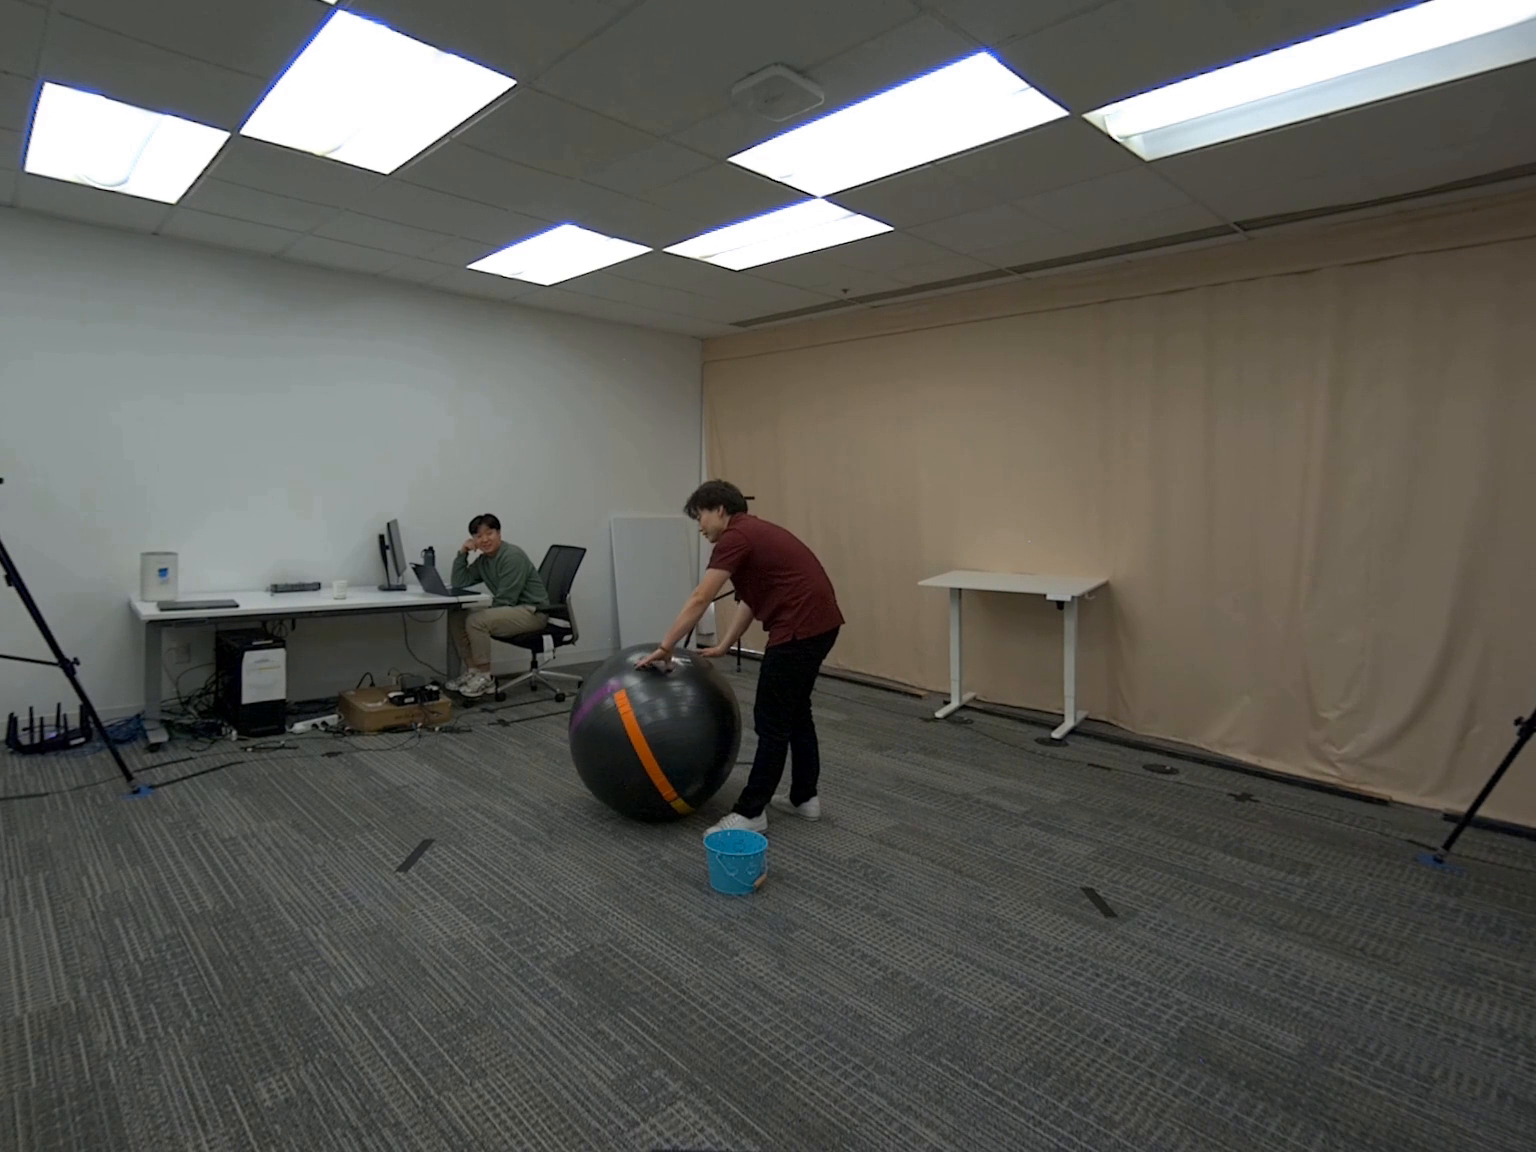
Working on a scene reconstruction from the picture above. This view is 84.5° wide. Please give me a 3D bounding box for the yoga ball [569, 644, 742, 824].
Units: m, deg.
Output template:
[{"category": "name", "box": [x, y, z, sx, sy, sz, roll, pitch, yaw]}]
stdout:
[{"category": "yoga ball", "box": [-0.513, 0.685, 3.715, 0.757, 0.756, 0.761, 1, 4, -1]}]
